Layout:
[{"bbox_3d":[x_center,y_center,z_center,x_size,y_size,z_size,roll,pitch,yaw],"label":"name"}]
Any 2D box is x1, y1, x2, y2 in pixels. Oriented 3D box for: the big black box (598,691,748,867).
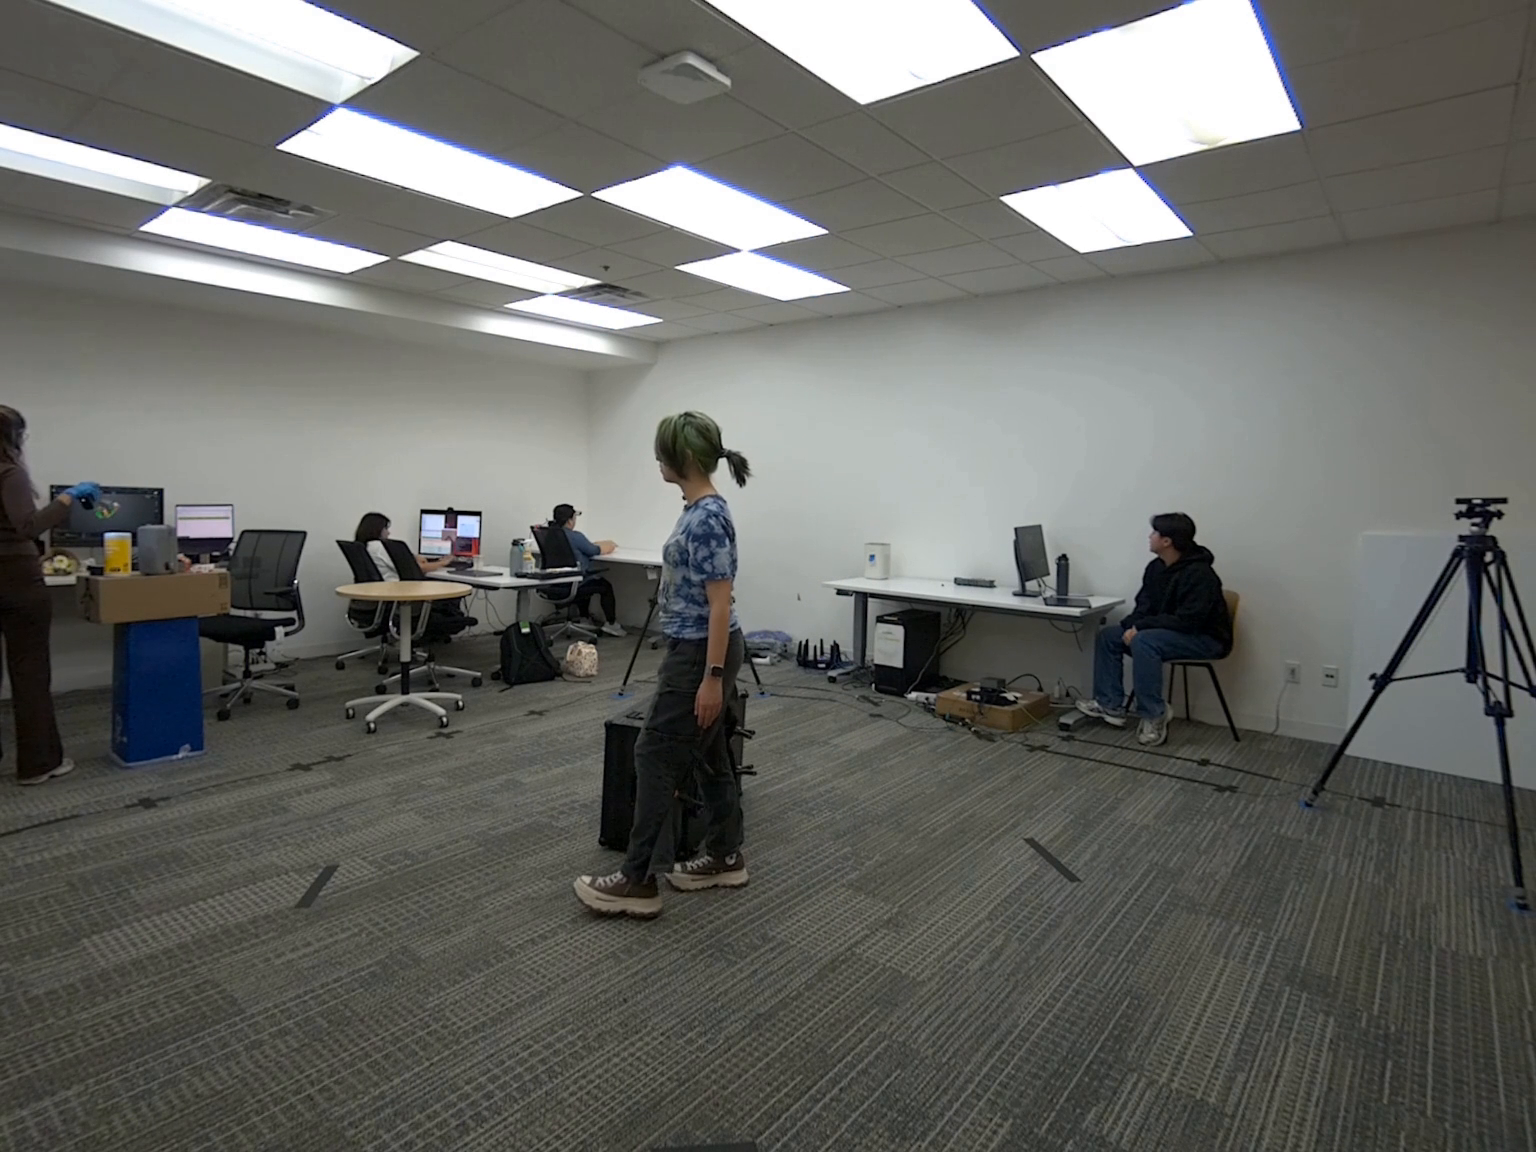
[{"bbox_3d":[-0.363,0.763,3.596,0.403,0.519,0.851,4,6,14],"label":"big black box"}]
